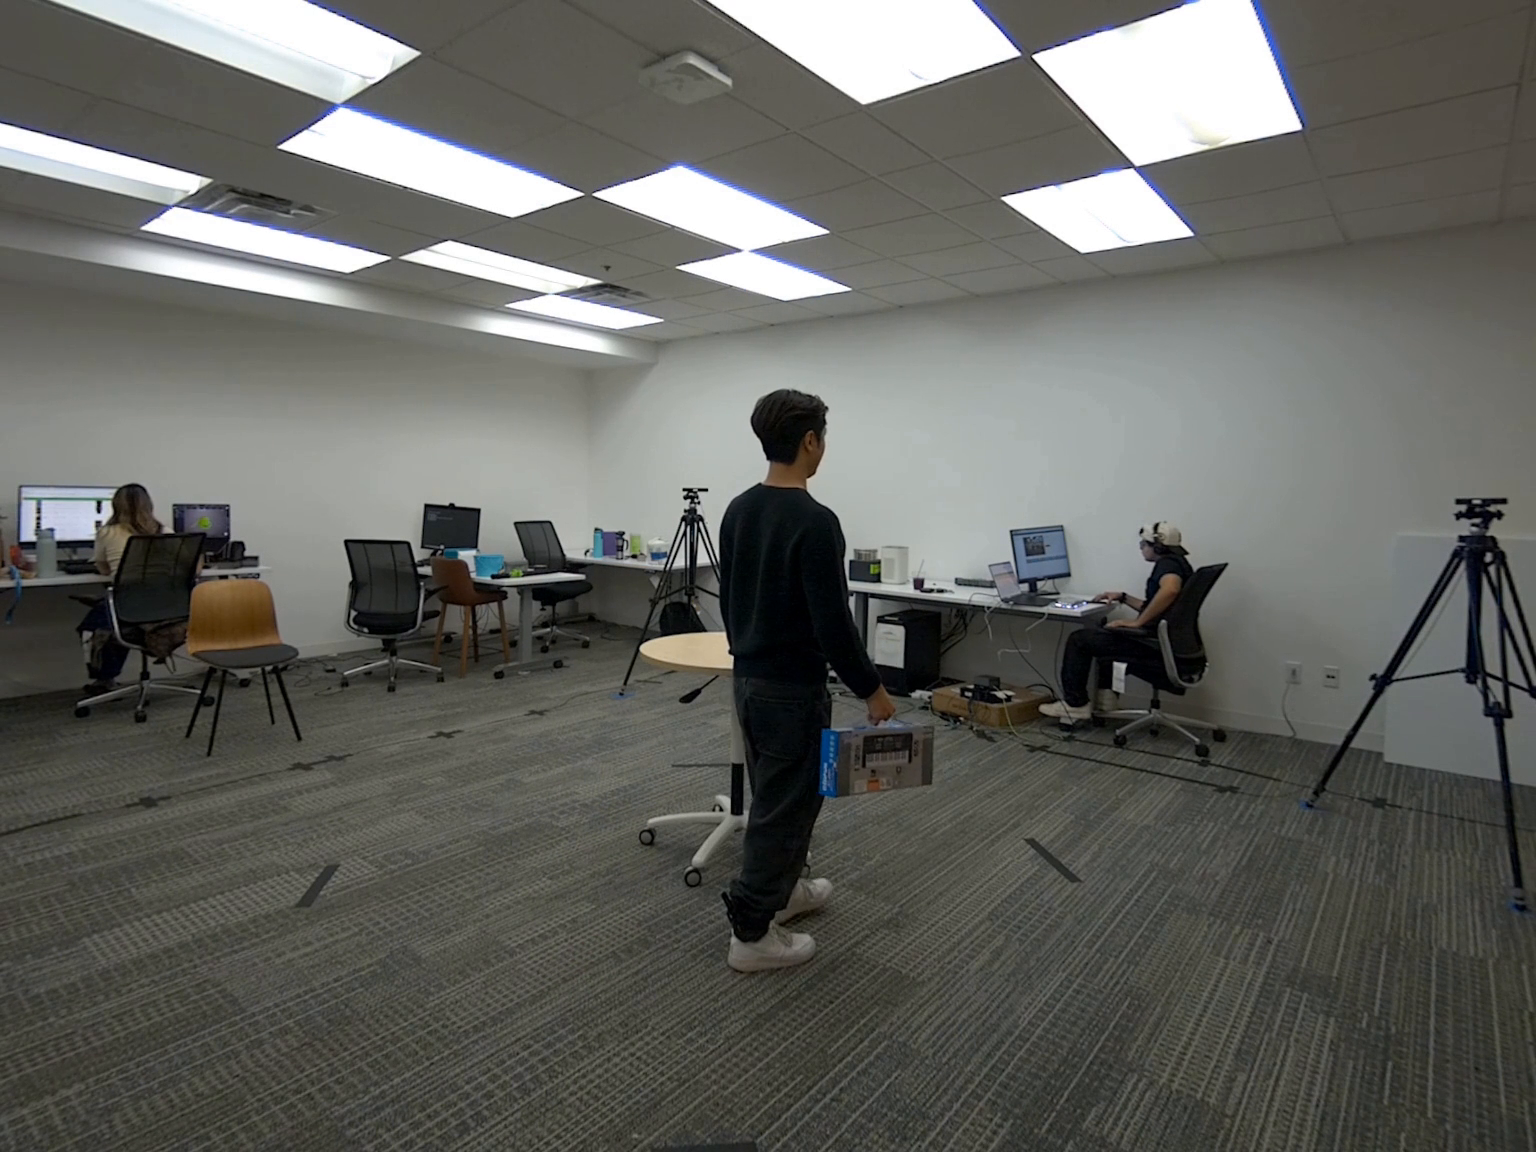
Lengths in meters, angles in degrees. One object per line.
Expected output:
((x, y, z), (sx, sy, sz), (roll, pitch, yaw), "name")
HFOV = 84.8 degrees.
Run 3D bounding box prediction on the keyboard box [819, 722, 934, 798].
((0.308, 0.508, 2.392), (0.422, 0.177, 0.061), (6, -5, -42), "keyboard box")
